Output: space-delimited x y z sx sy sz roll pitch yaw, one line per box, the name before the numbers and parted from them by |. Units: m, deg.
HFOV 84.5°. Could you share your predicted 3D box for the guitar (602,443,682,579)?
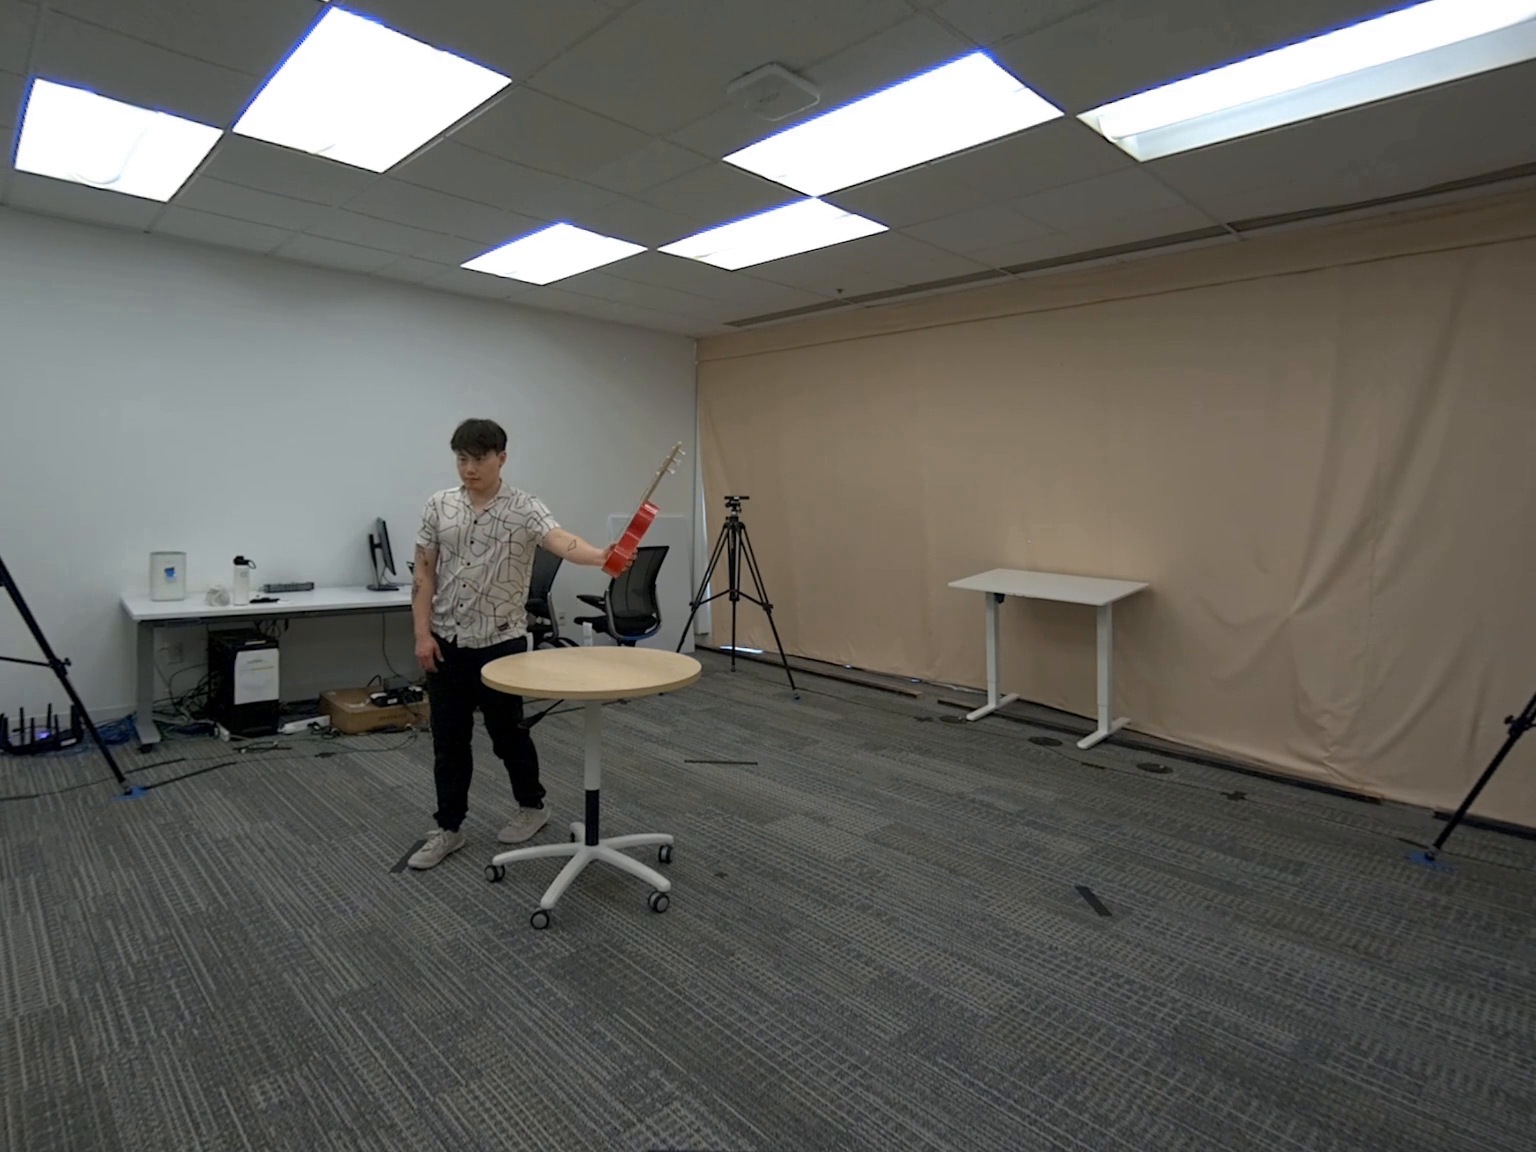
guitar | -0.415 -0.214 2.768 0.070 0.497 0.195 30 5 -9
